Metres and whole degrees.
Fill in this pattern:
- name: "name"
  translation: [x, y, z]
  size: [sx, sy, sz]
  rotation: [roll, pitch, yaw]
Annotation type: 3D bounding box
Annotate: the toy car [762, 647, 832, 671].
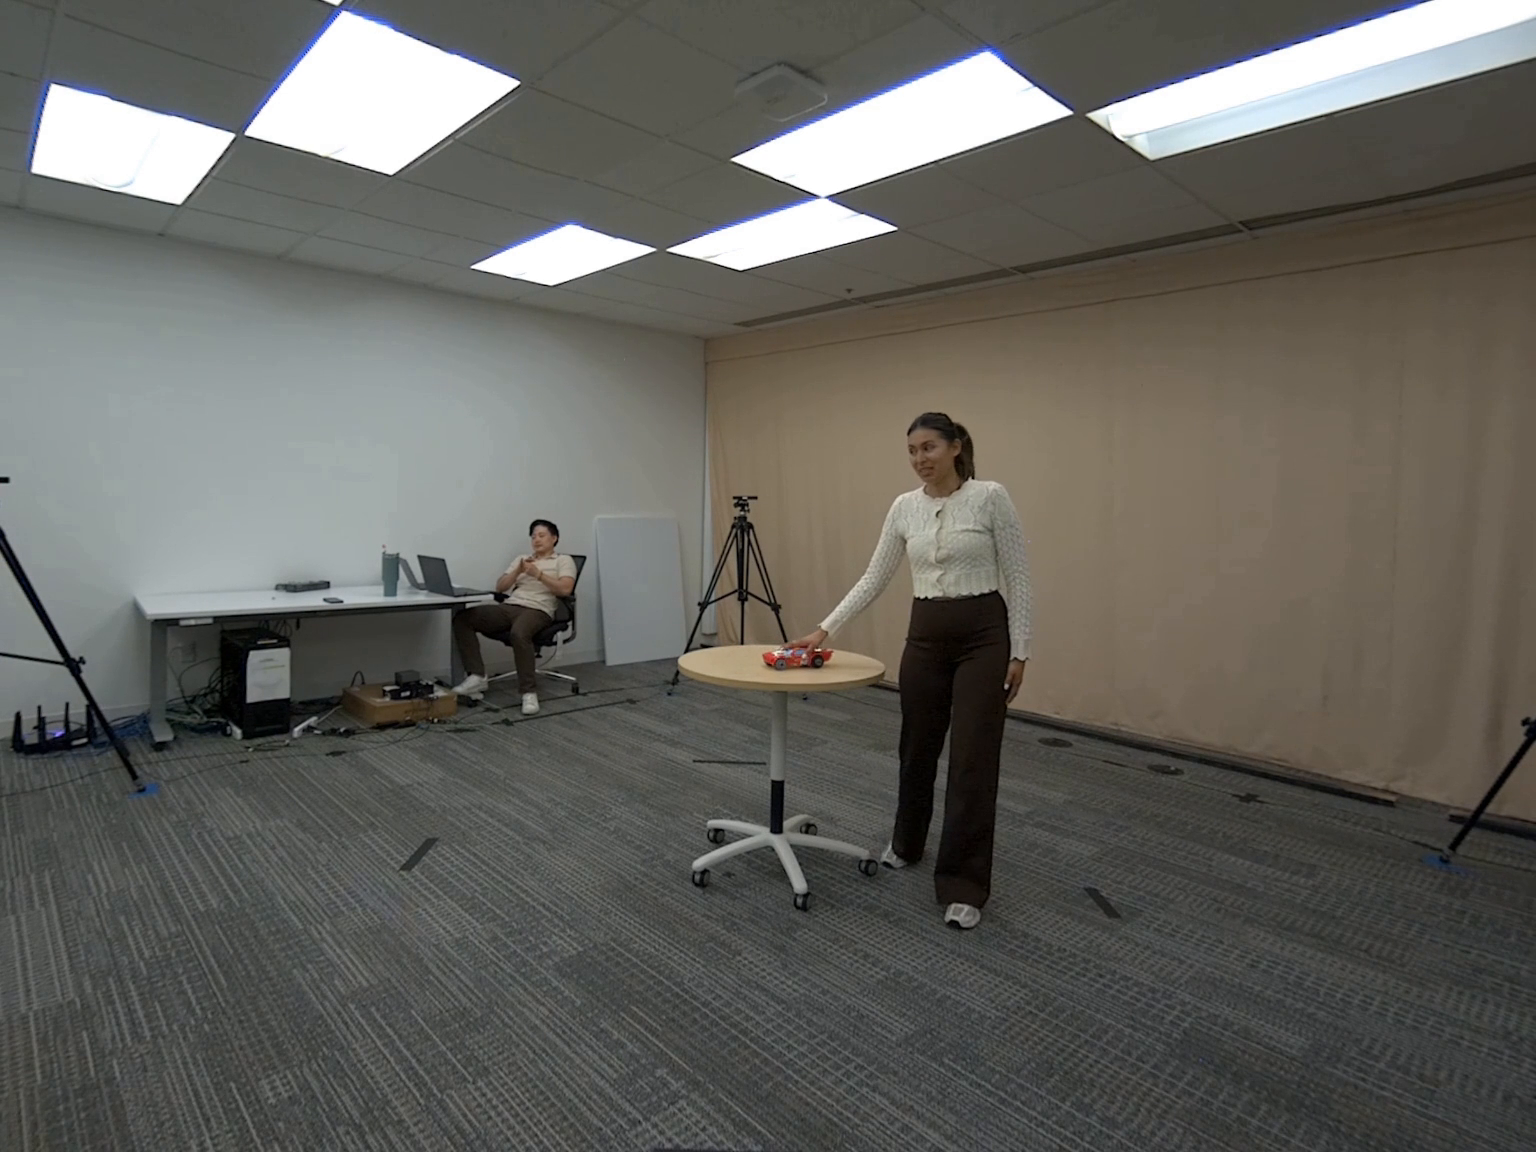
- name: "toy car"
  translation: [0.109, 0.295, 3.045]
  size: [0.252, 0.082, 0.132]
  rotation: [-12, 9, -18]
